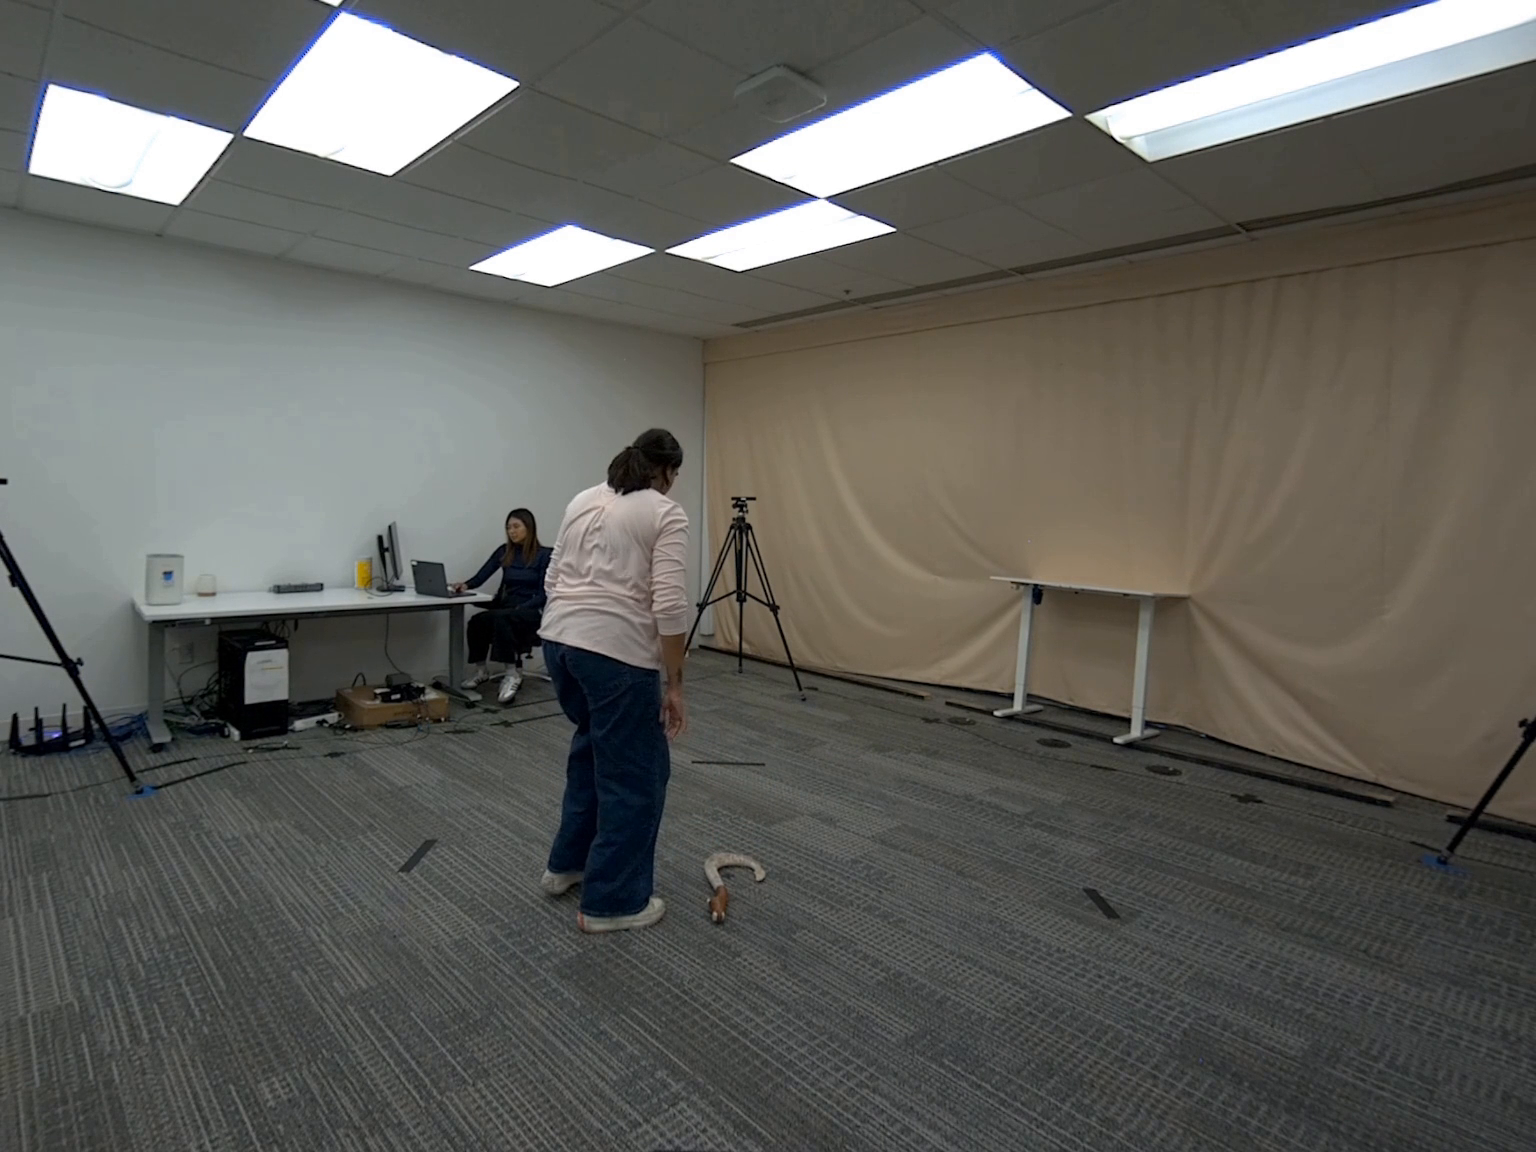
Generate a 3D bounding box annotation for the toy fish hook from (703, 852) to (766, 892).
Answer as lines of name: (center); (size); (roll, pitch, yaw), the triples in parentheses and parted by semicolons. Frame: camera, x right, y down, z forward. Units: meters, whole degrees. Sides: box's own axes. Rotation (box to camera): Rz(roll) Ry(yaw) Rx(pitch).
toy fish hook: (-0.125, 1.096, 2.980); (0.224, 0.048, 0.508); (0, 6, -2)
